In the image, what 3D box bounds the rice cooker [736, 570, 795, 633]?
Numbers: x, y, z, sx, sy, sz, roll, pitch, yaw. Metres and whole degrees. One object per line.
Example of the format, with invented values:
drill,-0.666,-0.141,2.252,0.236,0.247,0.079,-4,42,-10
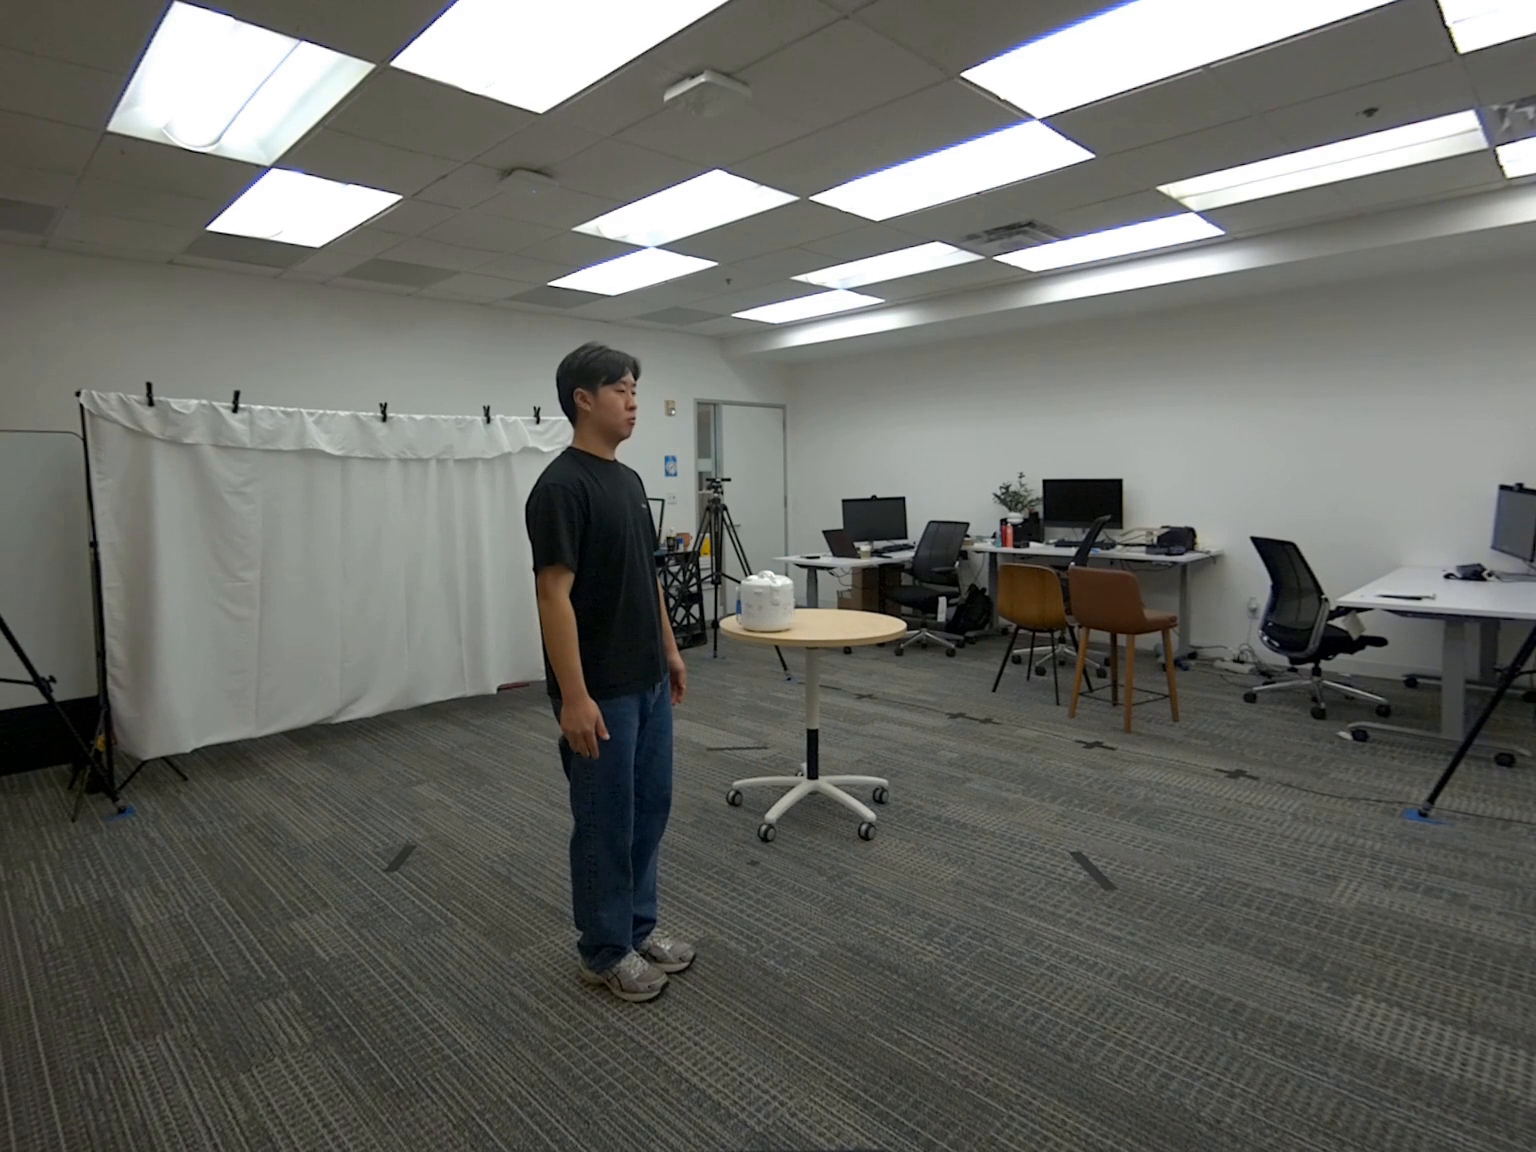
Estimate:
rice cooker,0.000,0.095,3.385,0.214,0.232,0.225,-3,6,-18
